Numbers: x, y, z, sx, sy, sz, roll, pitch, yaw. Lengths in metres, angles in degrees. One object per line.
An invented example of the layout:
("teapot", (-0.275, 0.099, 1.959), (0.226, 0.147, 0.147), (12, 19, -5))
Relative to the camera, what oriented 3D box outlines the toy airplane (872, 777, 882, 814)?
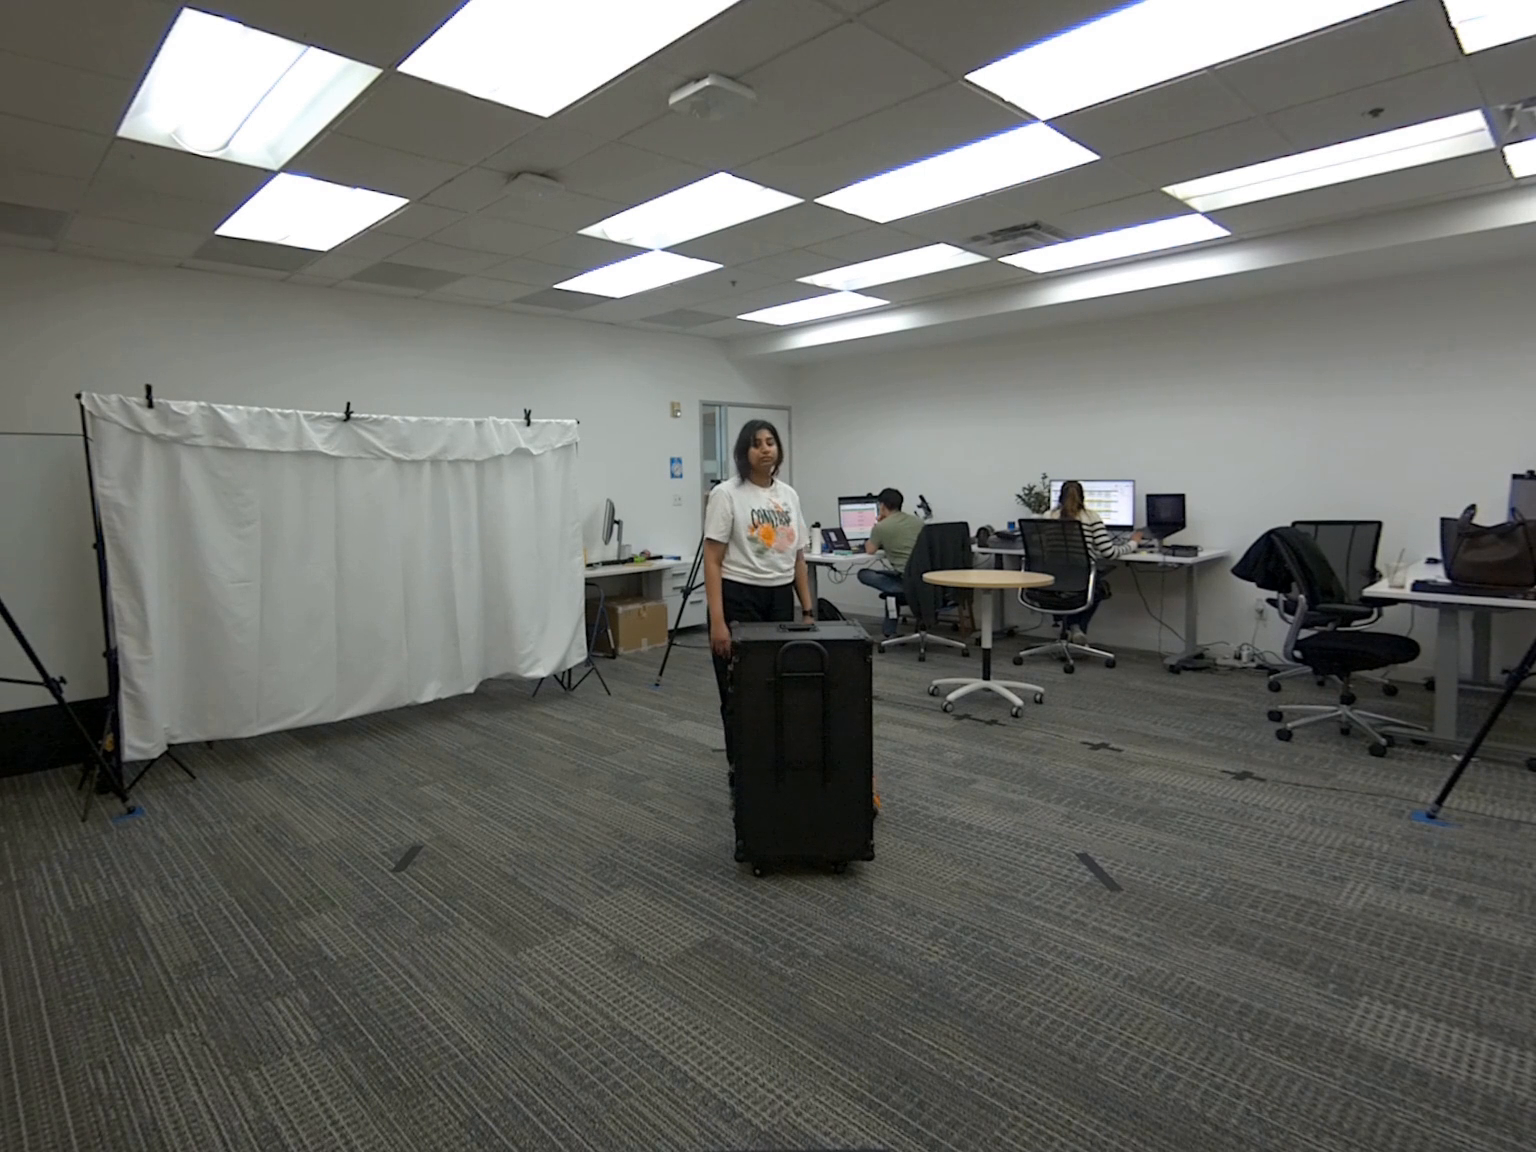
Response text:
("toy airplane", (0.332, 0.925, 3.518), (0.263, 0.156, 0.249), (2, 6, 12))
